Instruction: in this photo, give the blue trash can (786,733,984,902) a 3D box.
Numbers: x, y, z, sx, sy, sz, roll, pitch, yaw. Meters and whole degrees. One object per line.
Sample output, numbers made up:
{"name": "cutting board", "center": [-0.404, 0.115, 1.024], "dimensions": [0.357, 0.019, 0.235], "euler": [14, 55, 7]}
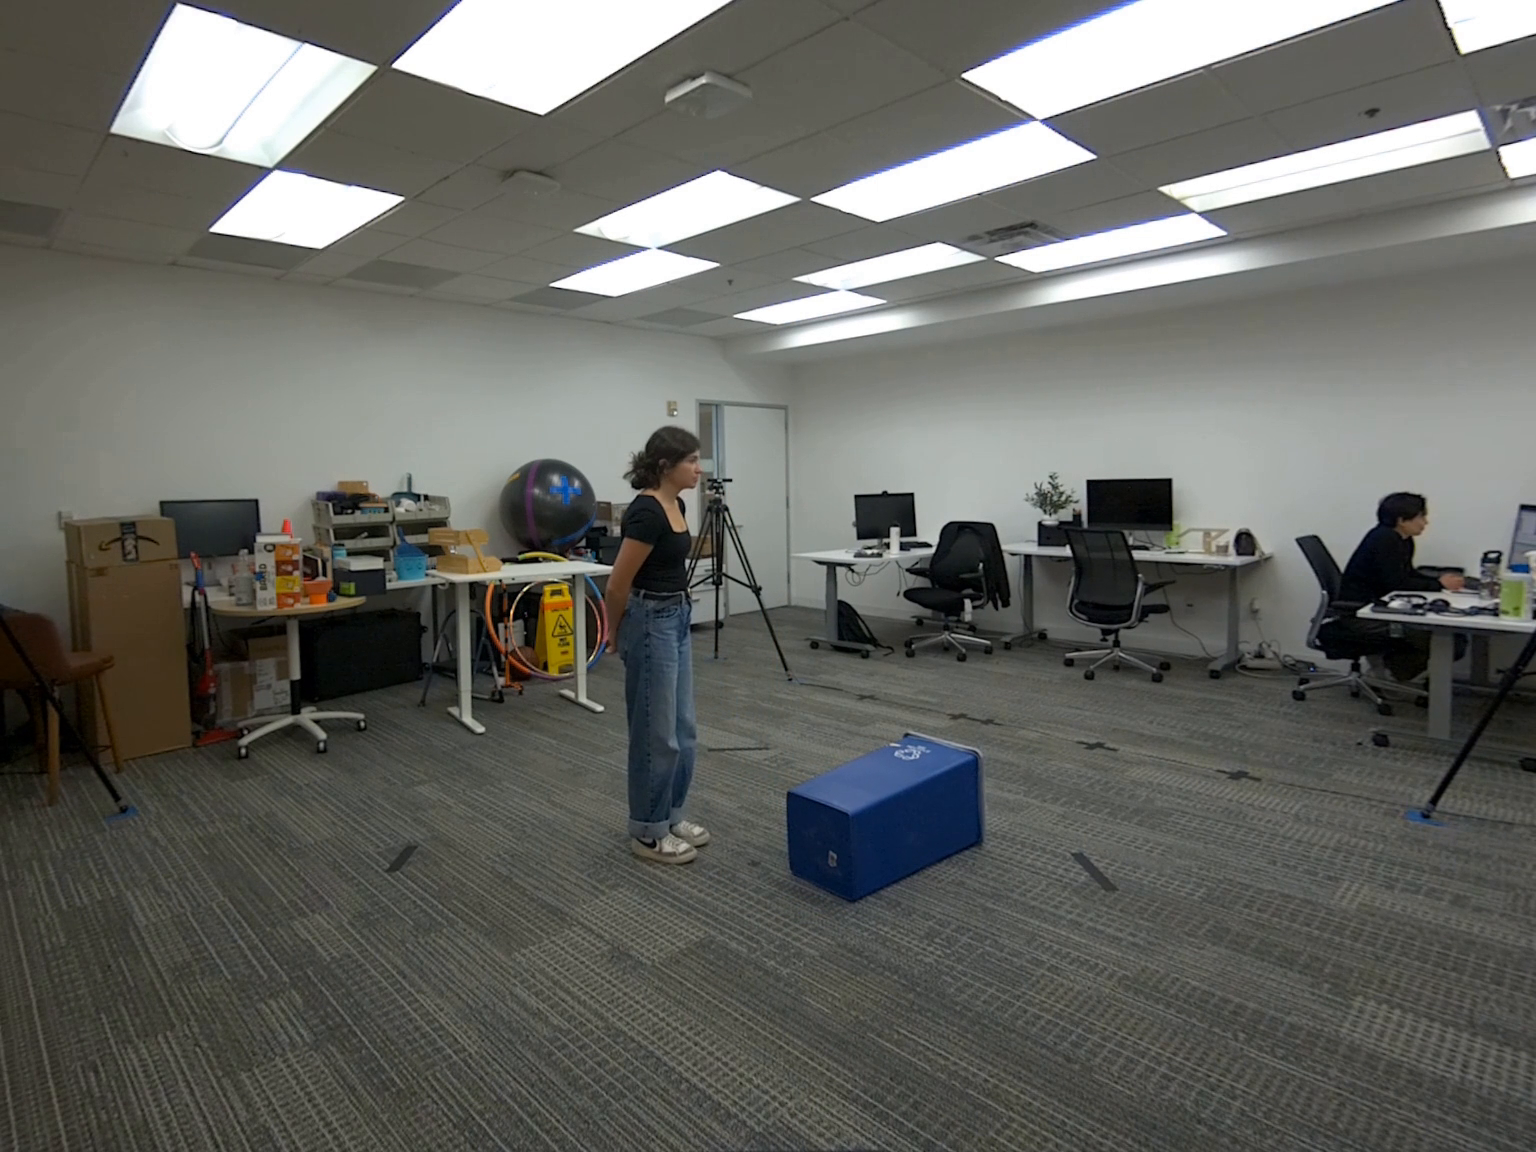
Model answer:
{"name": "blue trash can", "center": [0.434, 0.866, 3.116], "dimensions": [0.696, 0.376, 0.386], "euler": [-10, 10, -41]}
